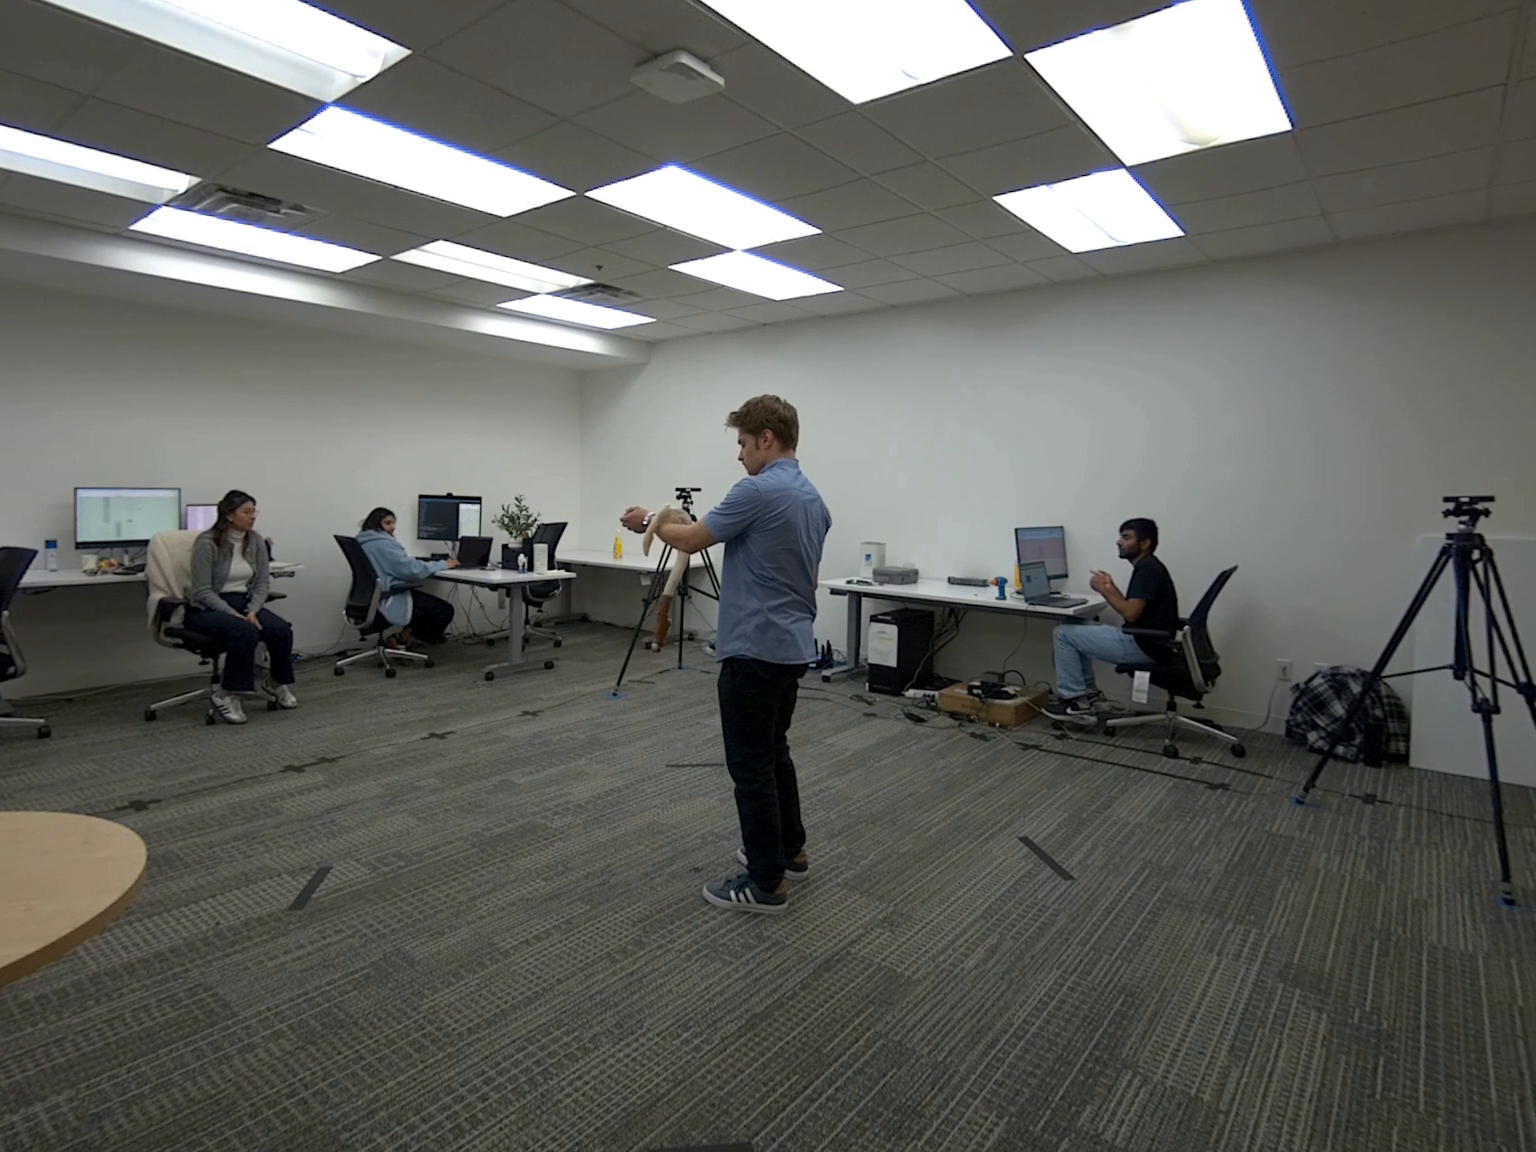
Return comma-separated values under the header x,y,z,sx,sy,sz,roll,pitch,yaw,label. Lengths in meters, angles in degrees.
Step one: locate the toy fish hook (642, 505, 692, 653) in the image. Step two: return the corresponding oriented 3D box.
x,y,z,sx,sy,sz,roll,pitch,yaw,label
-0.386,0.007,2.944,0.216,0.509,0.050,17,-10,-39,toy fish hook
